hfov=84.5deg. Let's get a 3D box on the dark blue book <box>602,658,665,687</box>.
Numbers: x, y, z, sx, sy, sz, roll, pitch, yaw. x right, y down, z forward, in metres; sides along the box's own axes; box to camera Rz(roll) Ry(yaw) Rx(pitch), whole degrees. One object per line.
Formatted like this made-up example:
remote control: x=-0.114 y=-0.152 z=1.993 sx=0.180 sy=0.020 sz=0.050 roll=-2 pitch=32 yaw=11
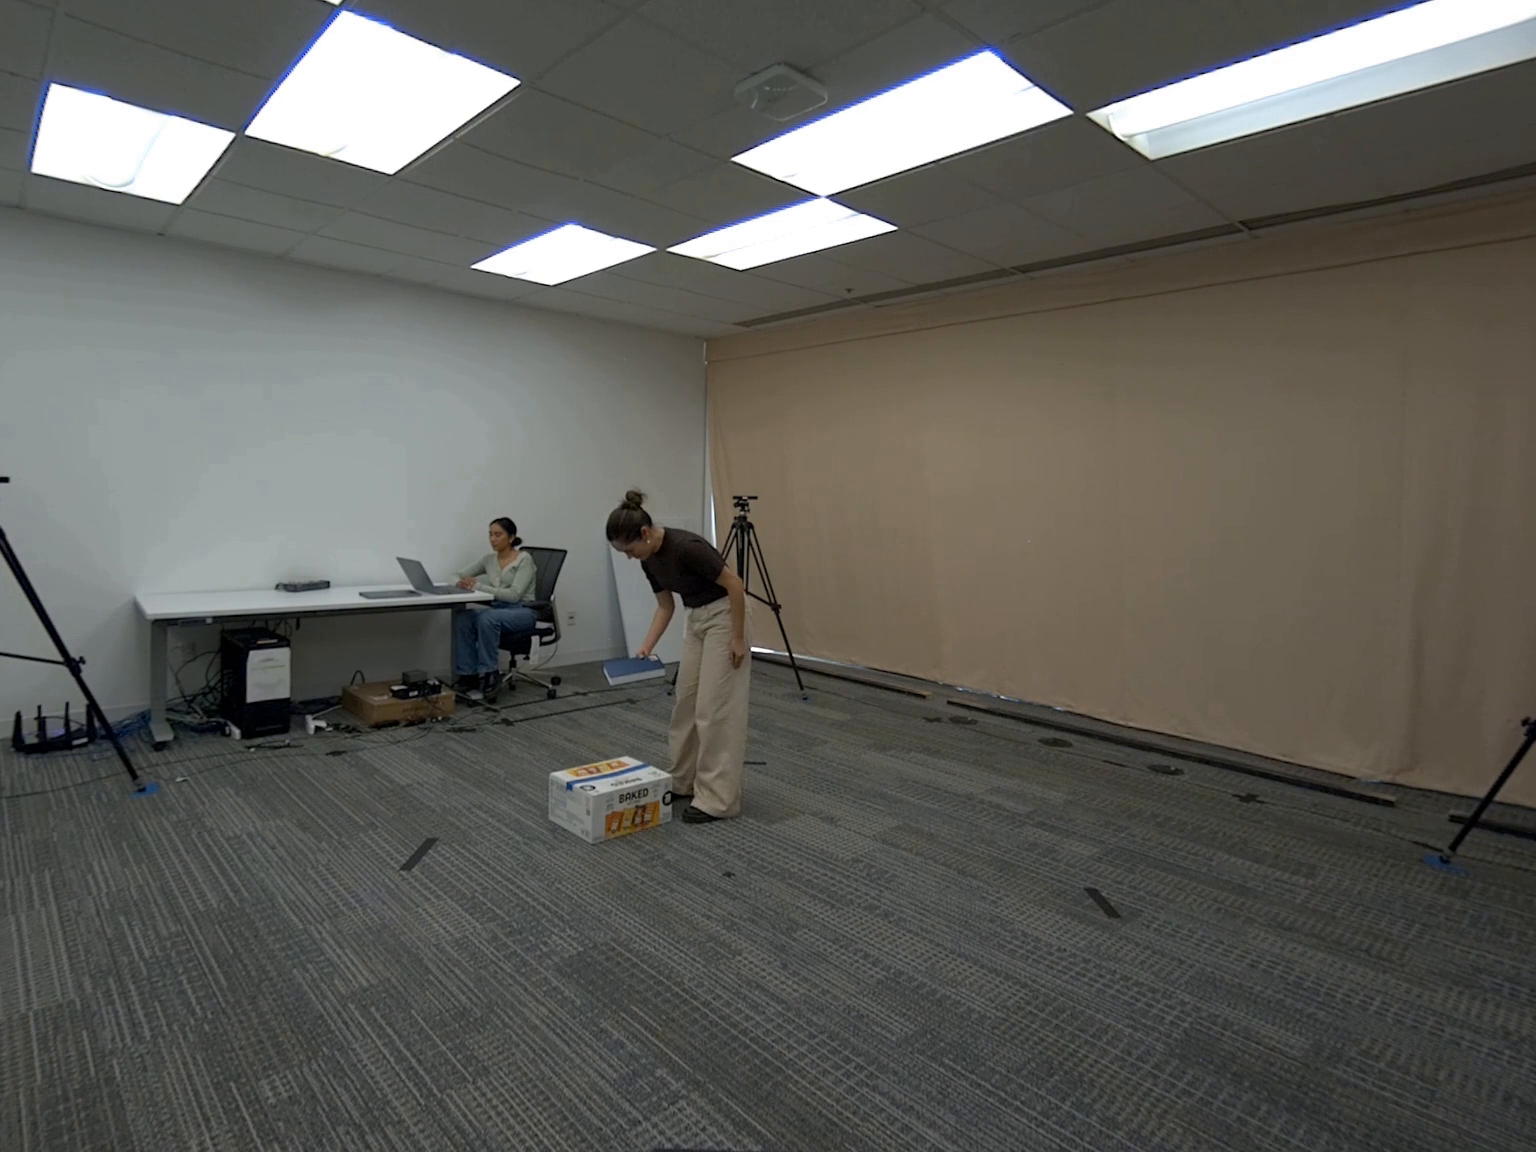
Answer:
dark blue book: x=-0.595 y=0.403 z=3.664 sx=0.242 sy=0.044 sz=0.167 roll=-7 pitch=18 yaw=-19
